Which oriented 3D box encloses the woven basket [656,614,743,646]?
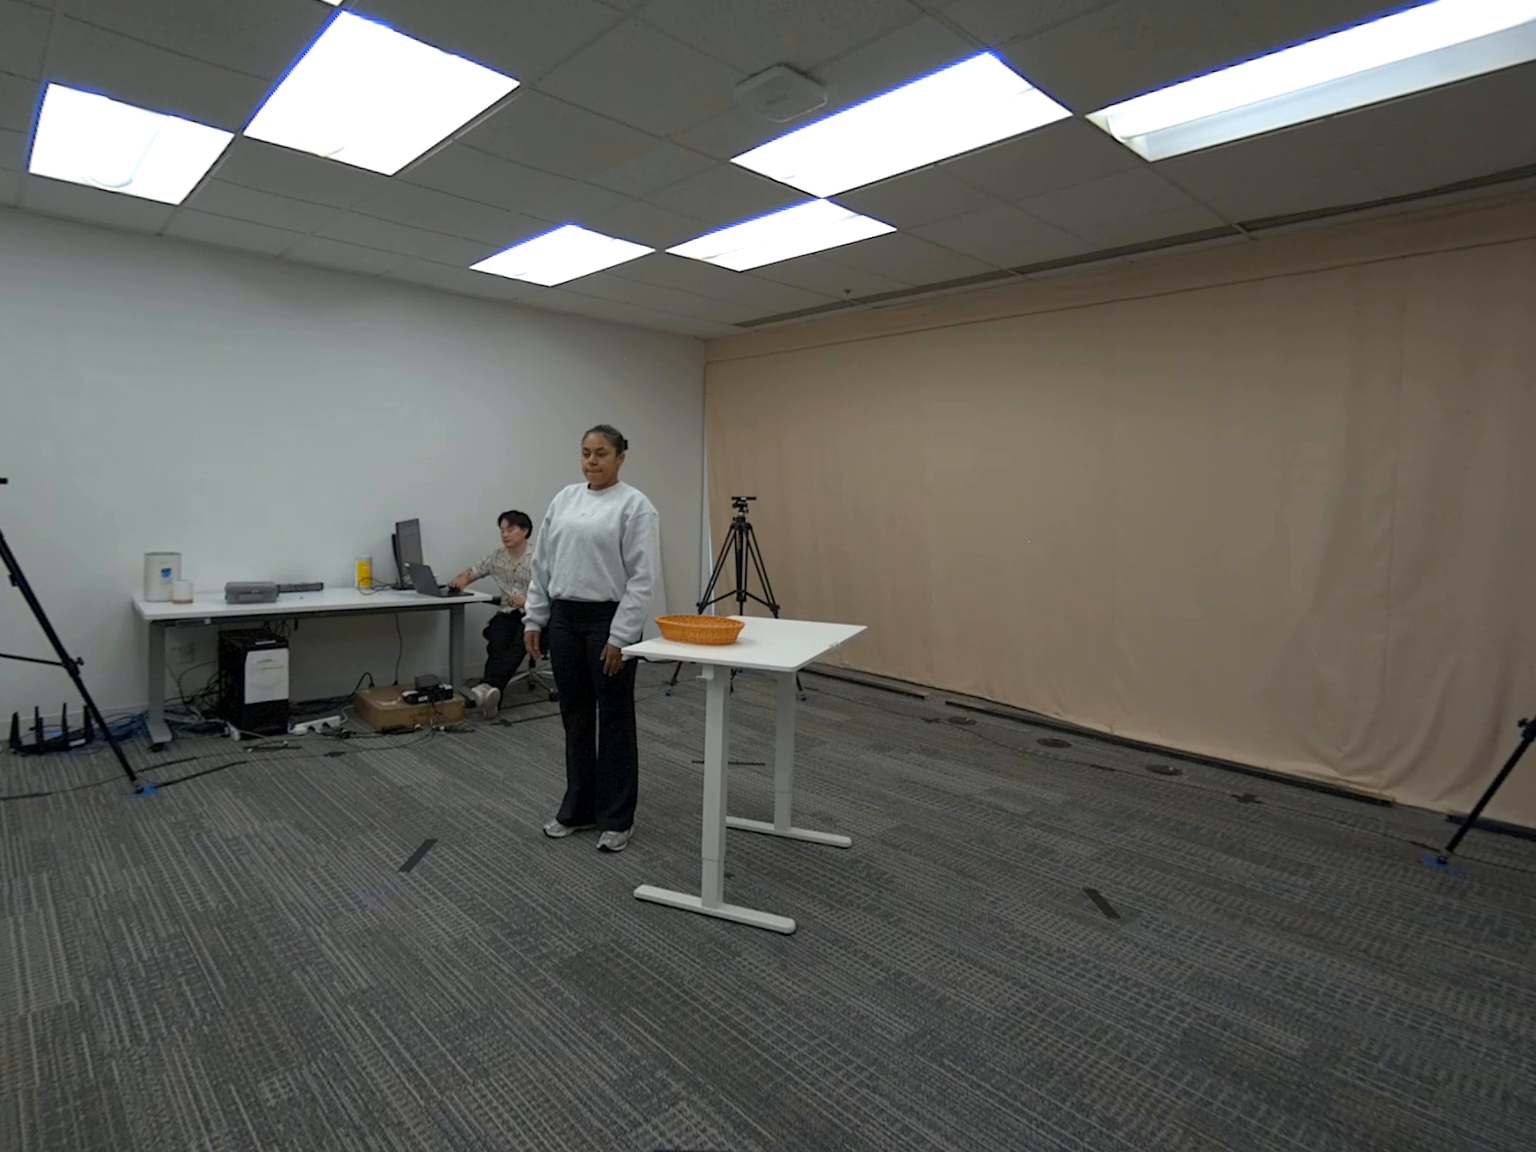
[{"bbox_3d":[-0.250,0.202,3.007,0.359,0.073,0.247,5,6,39],"label":"woven basket"}]
